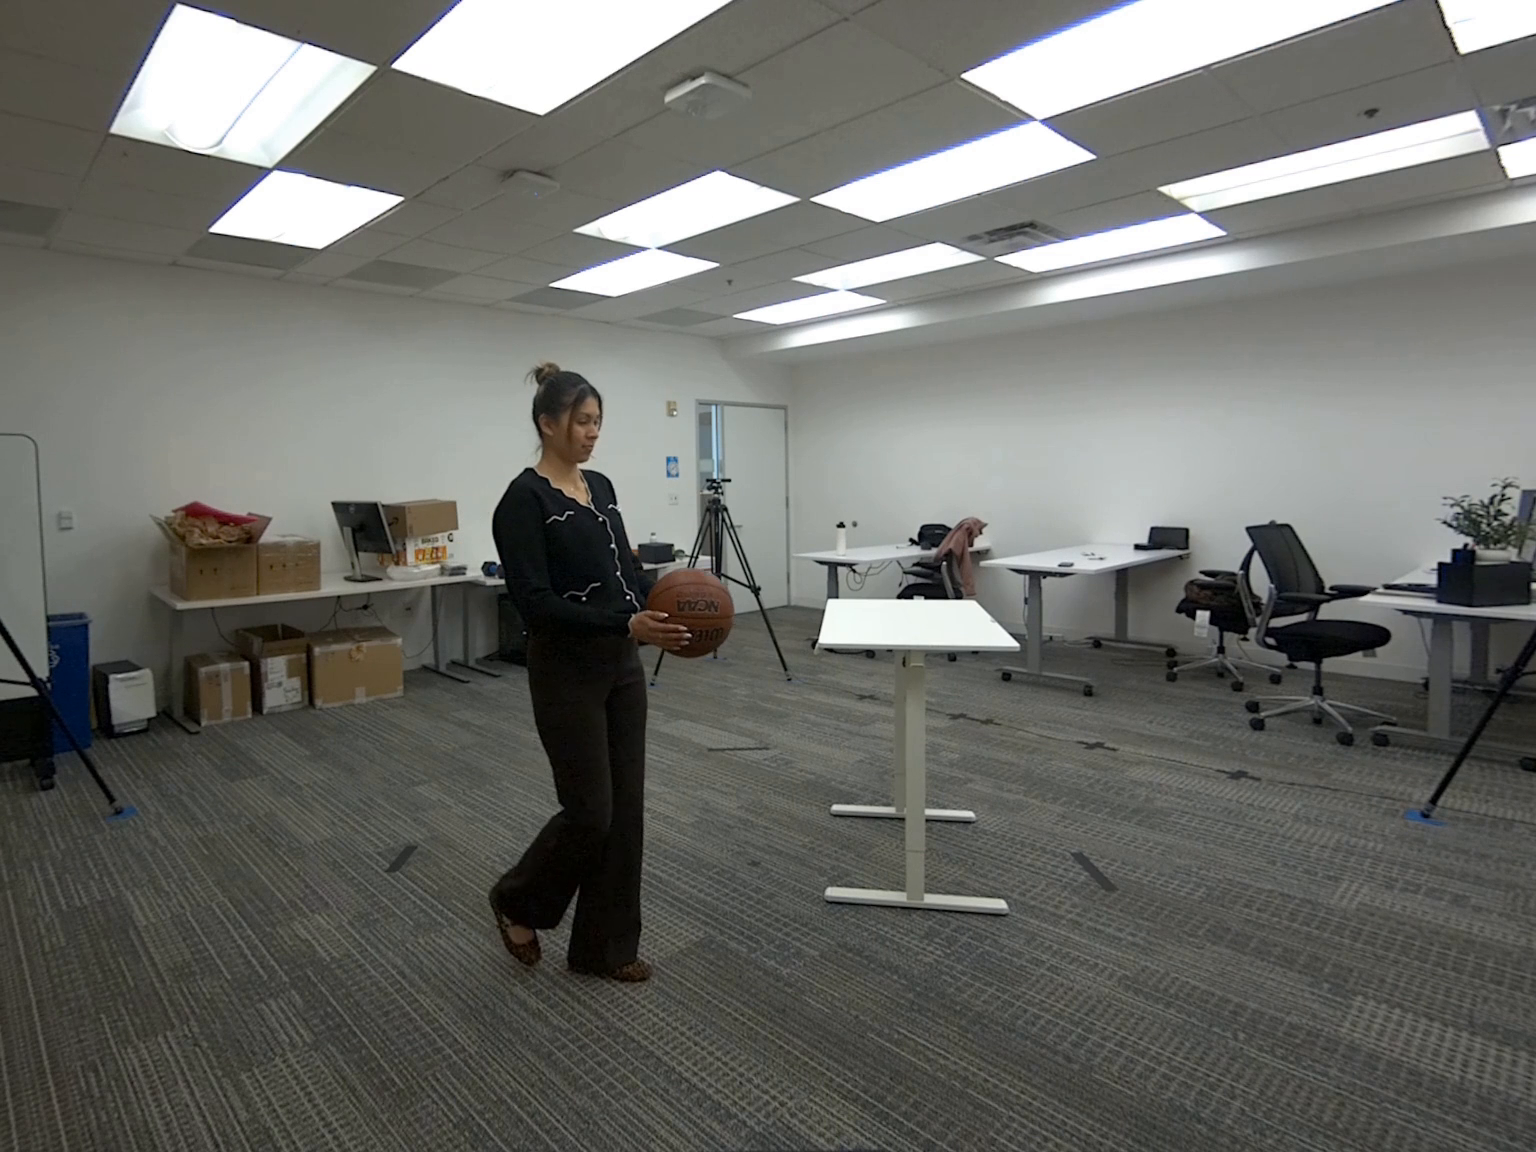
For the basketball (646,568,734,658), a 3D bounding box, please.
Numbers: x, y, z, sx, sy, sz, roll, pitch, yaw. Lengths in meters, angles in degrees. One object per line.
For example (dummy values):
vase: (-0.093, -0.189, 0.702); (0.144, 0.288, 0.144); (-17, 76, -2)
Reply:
basketball: (-0.209, 0.101, 2.252); (0.236, 0.235, 0.237); (-1, 5, -2)
